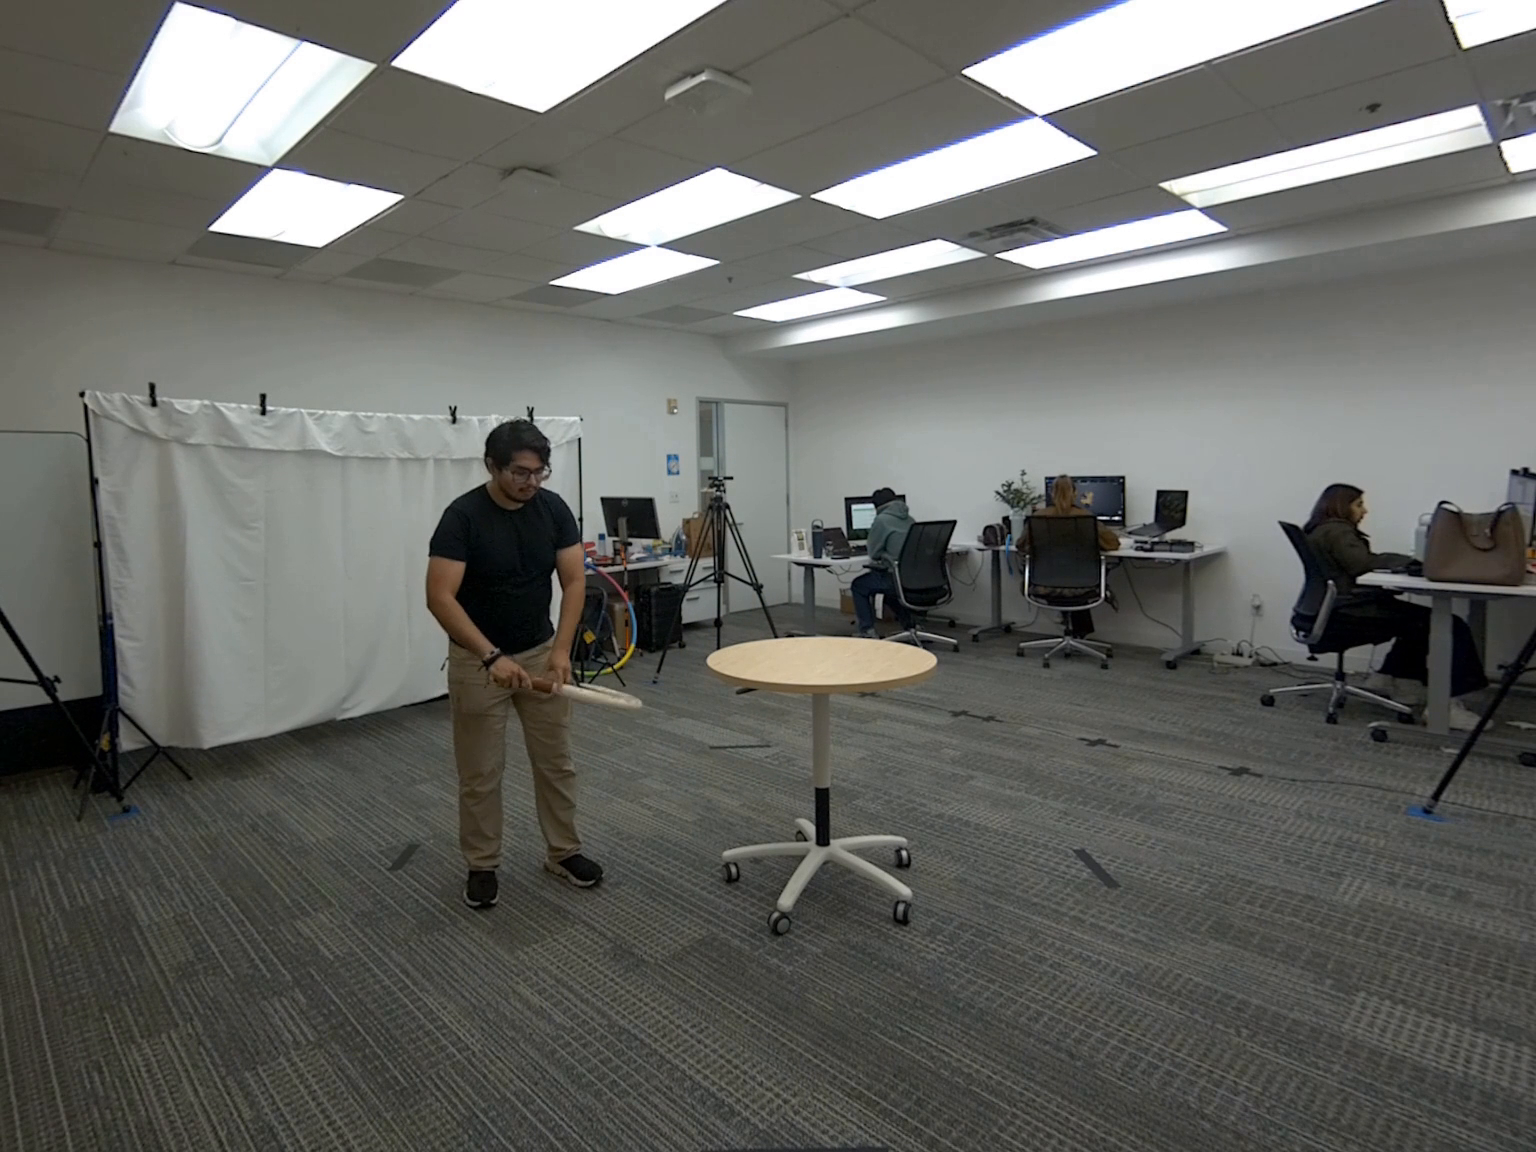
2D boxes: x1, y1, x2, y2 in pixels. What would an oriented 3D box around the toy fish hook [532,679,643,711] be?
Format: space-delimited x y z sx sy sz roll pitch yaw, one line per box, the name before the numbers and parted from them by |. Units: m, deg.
toy fish hook | -0.644 0.365 2.759 0.496 0.048 0.228 14 -7 -19
